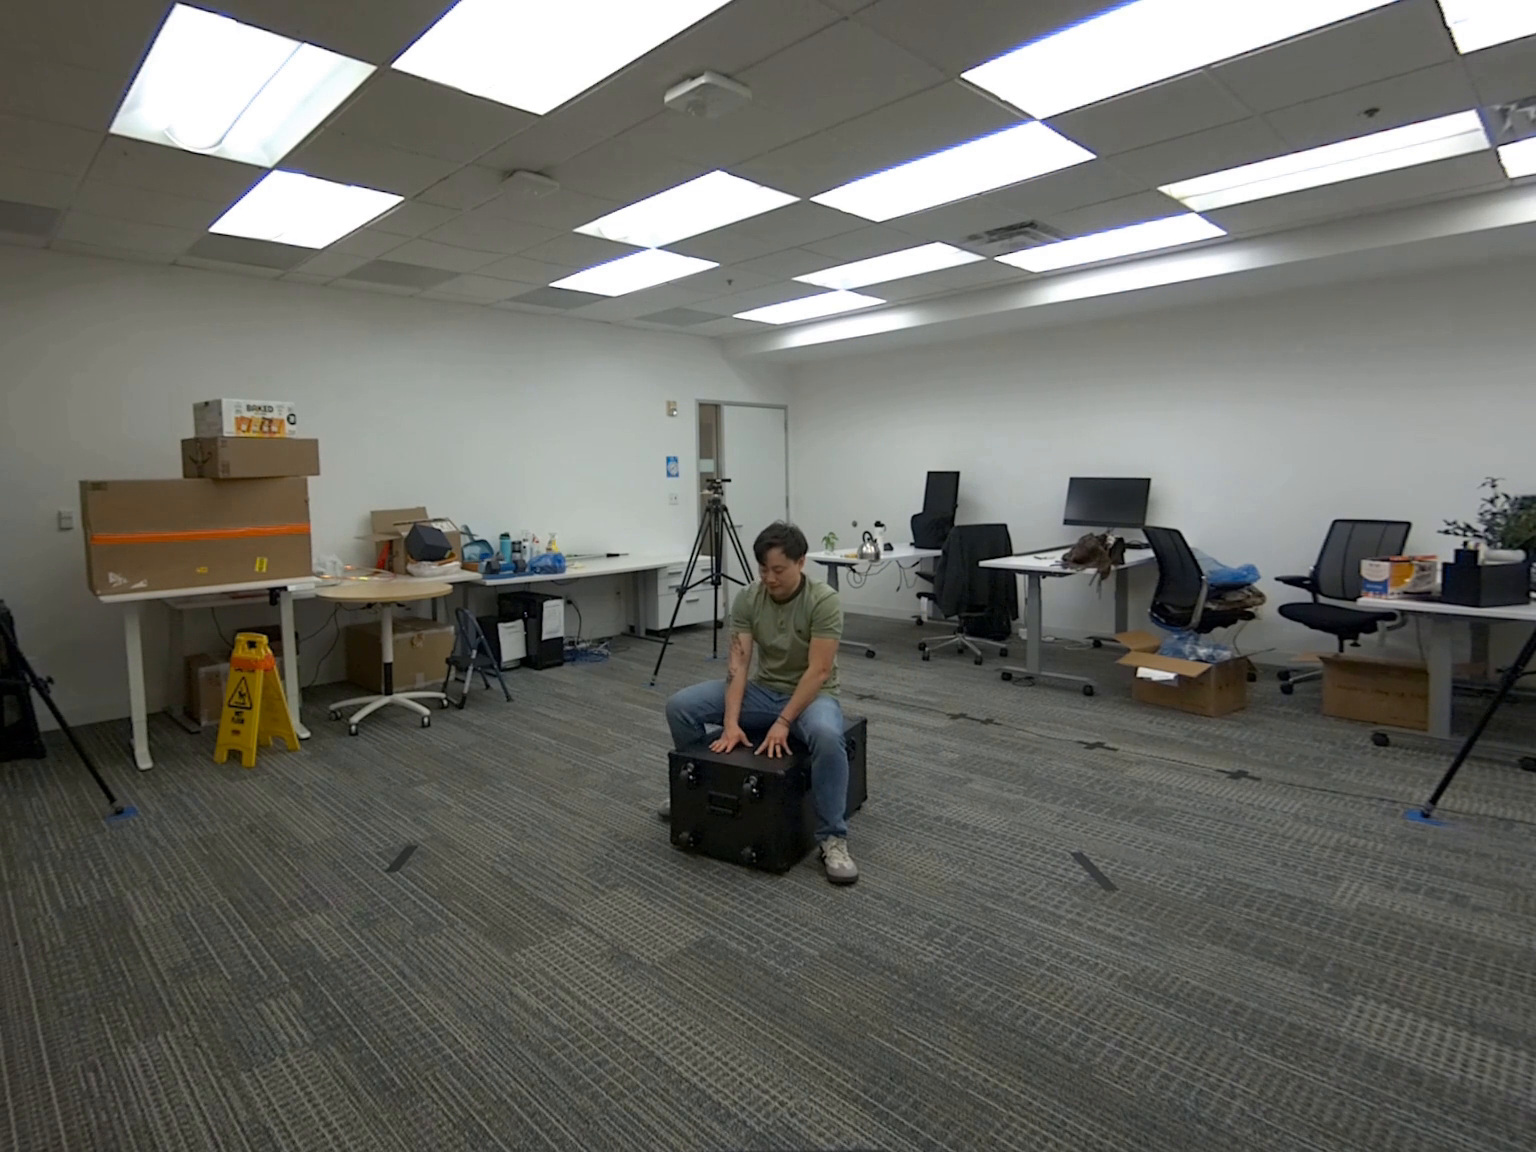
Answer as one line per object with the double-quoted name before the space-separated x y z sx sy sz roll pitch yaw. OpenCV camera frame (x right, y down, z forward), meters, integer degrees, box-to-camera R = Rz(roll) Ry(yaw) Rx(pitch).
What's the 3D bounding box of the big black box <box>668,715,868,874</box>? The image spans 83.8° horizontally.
"big black box" 0.012 0.822 3.399 0.535 0.395 0.842 3 6 29
